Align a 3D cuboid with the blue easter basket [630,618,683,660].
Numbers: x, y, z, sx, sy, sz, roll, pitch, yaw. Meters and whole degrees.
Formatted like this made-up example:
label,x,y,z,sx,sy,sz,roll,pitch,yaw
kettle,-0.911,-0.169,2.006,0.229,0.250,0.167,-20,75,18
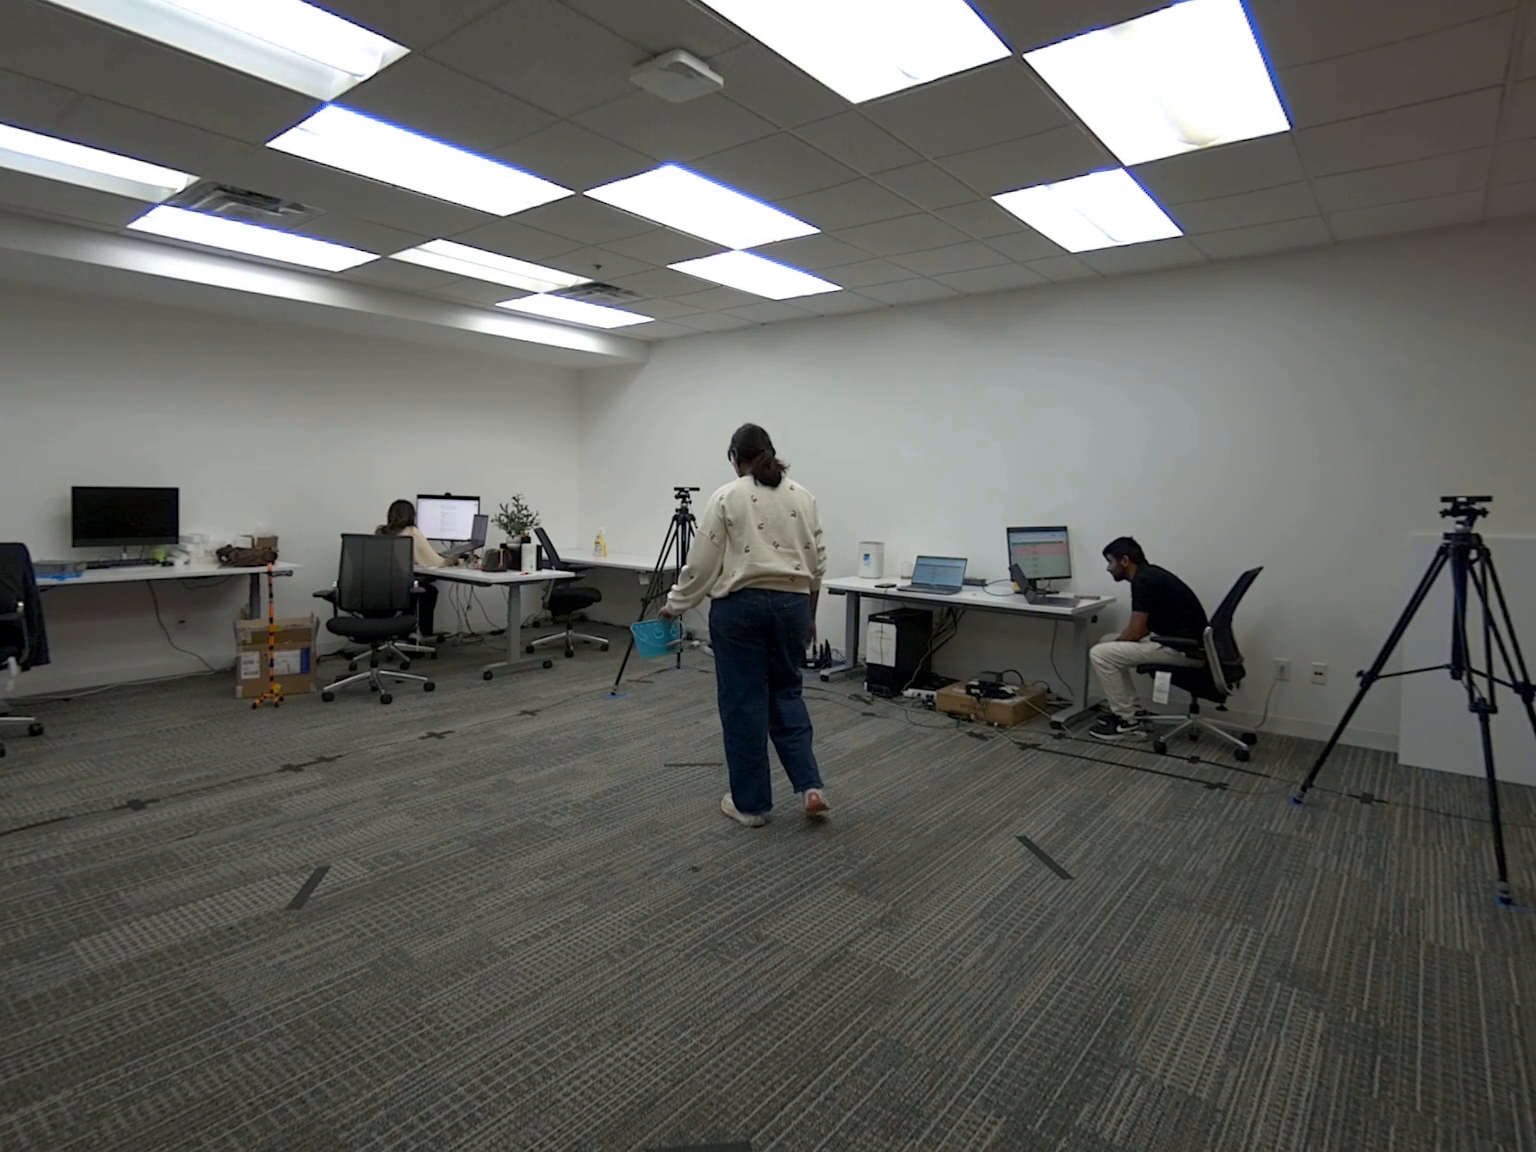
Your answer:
label,x,y,z,sx,sy,sz,roll,pitch,yaw
blue easter basket,-0.492,0.278,3.756,0.243,0.157,0.242,-10,-4,-3
